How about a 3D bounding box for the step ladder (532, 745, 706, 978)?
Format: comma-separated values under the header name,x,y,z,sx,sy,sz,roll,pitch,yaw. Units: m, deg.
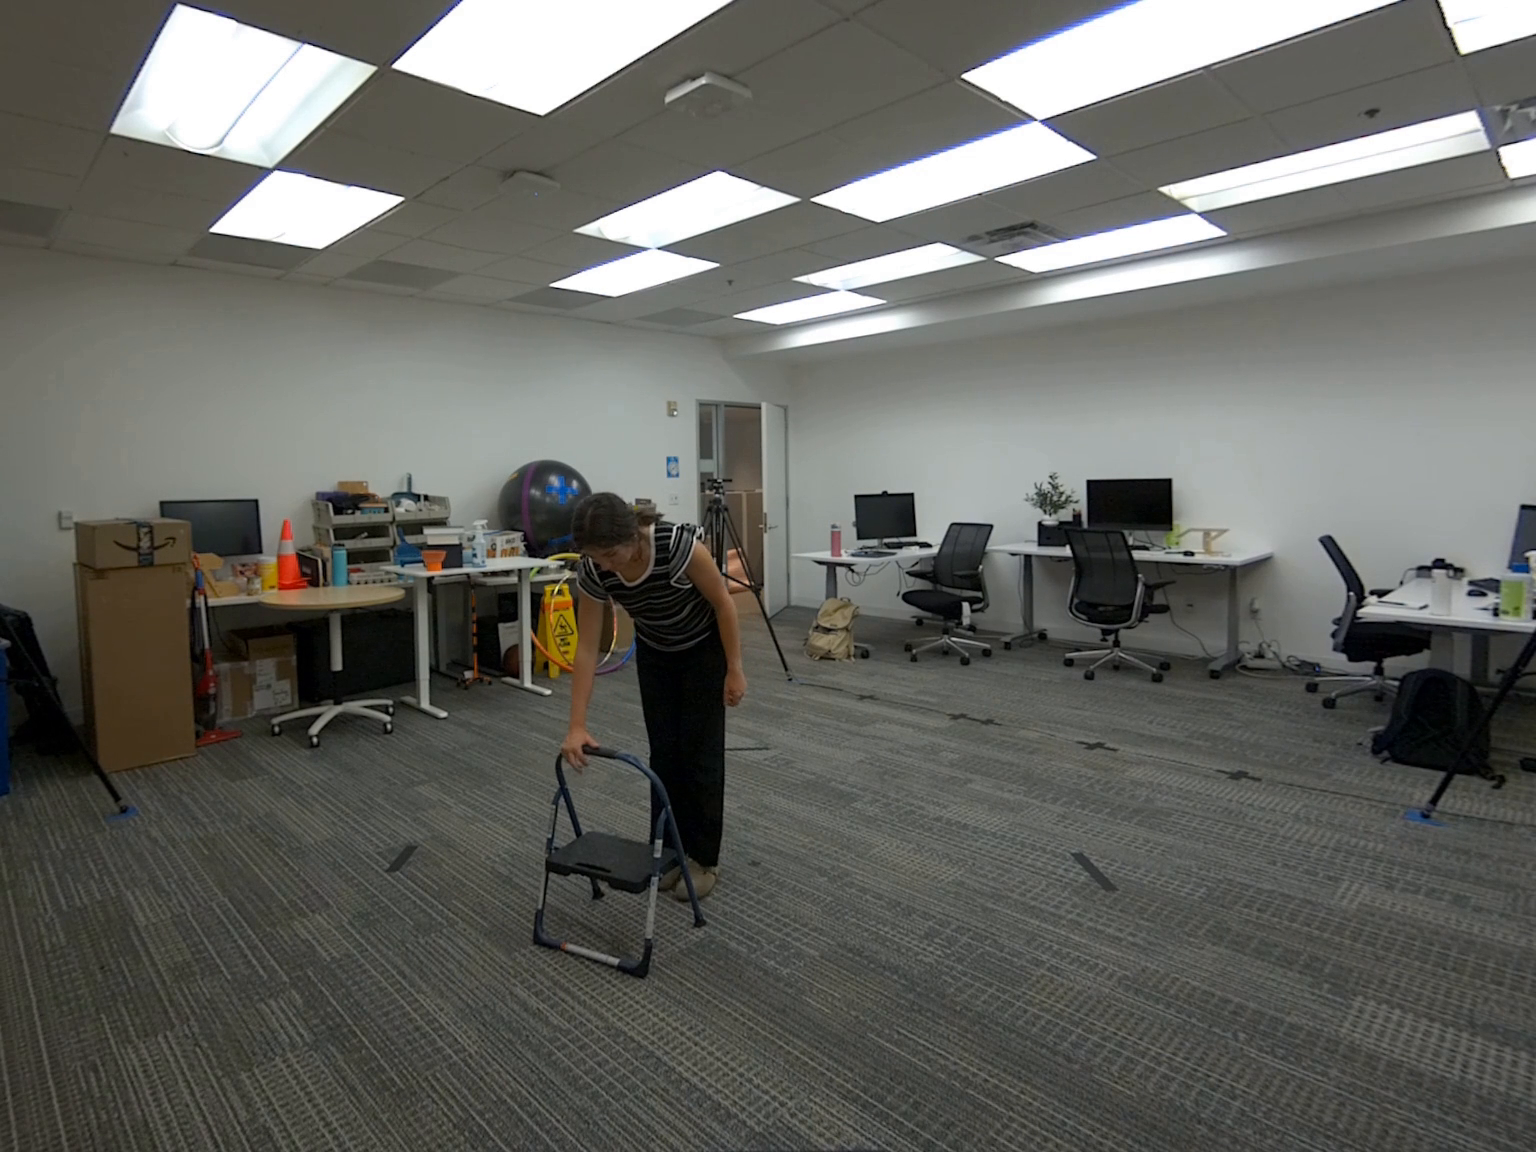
name,x,y,z,sx,sy,sz,roll,pitch,yaw
step ladder,-0.465,0.806,2.628,0.441,0.603,0.342,1,5,27
